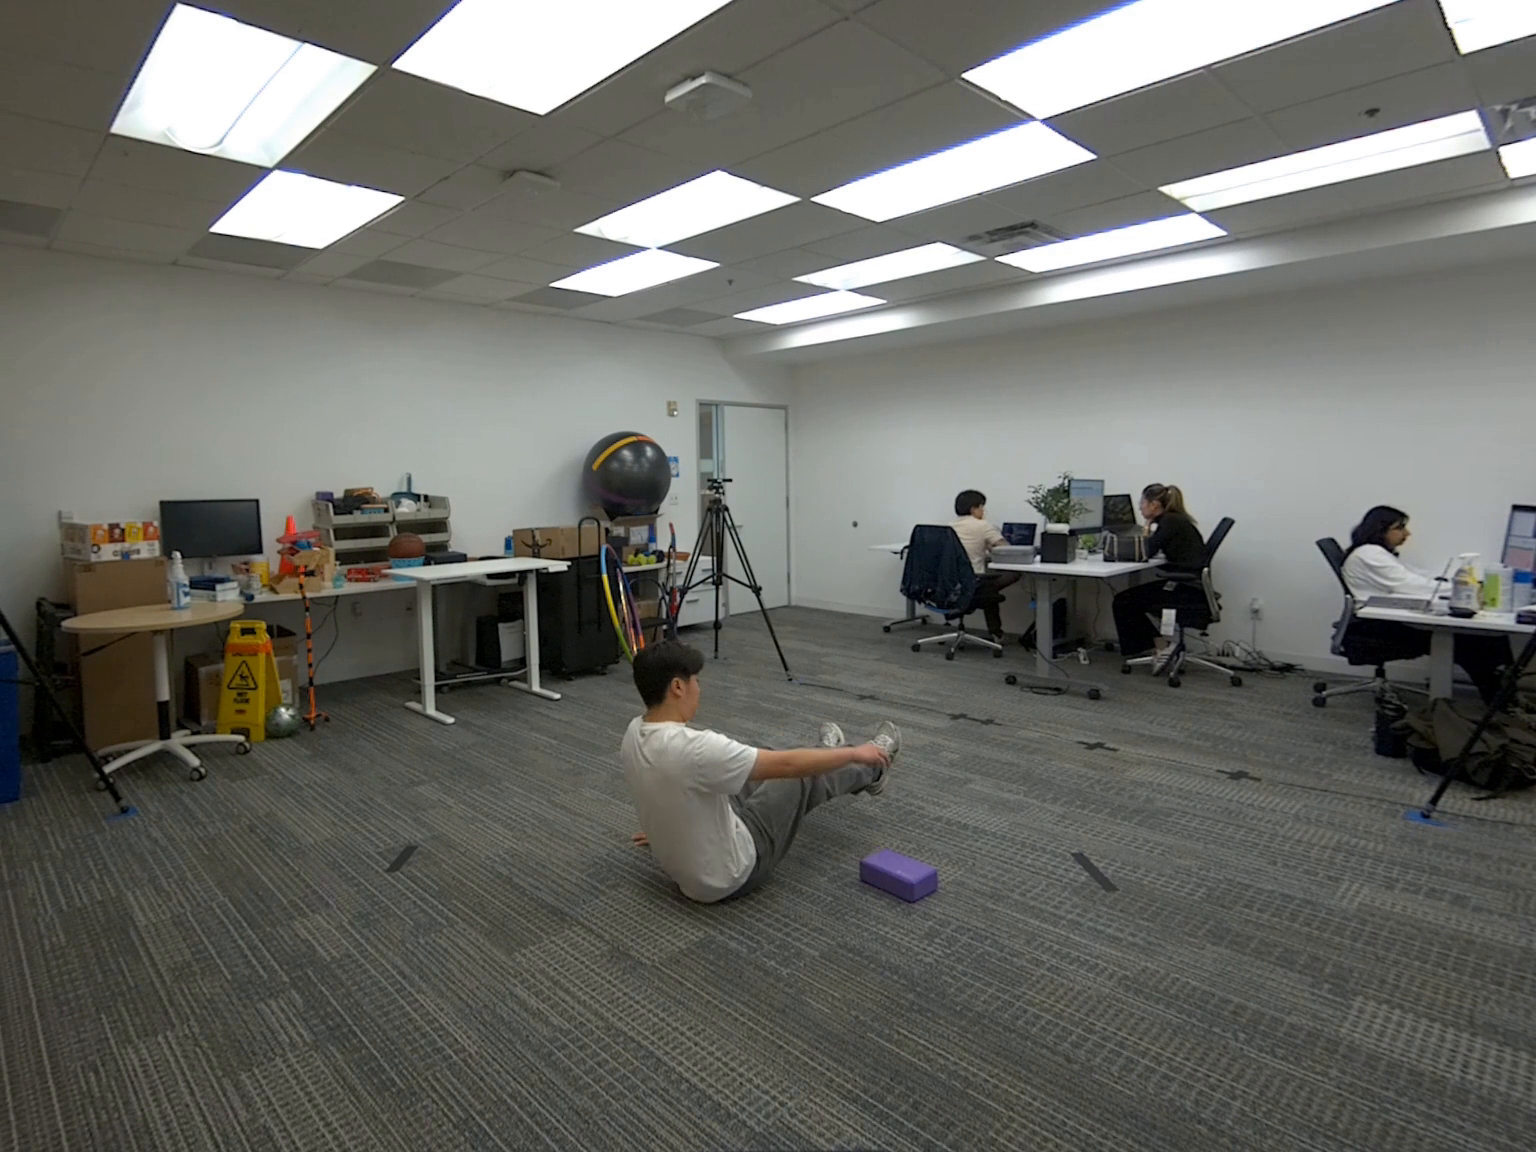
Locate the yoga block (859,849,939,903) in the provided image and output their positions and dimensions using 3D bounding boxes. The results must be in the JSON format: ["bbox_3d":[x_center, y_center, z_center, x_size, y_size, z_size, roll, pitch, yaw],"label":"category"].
[{"bbox_3d":[0.439,1.016,2.915,0.145,0.076,0.236,-6,8,-43],"label":"yoga block"}]
